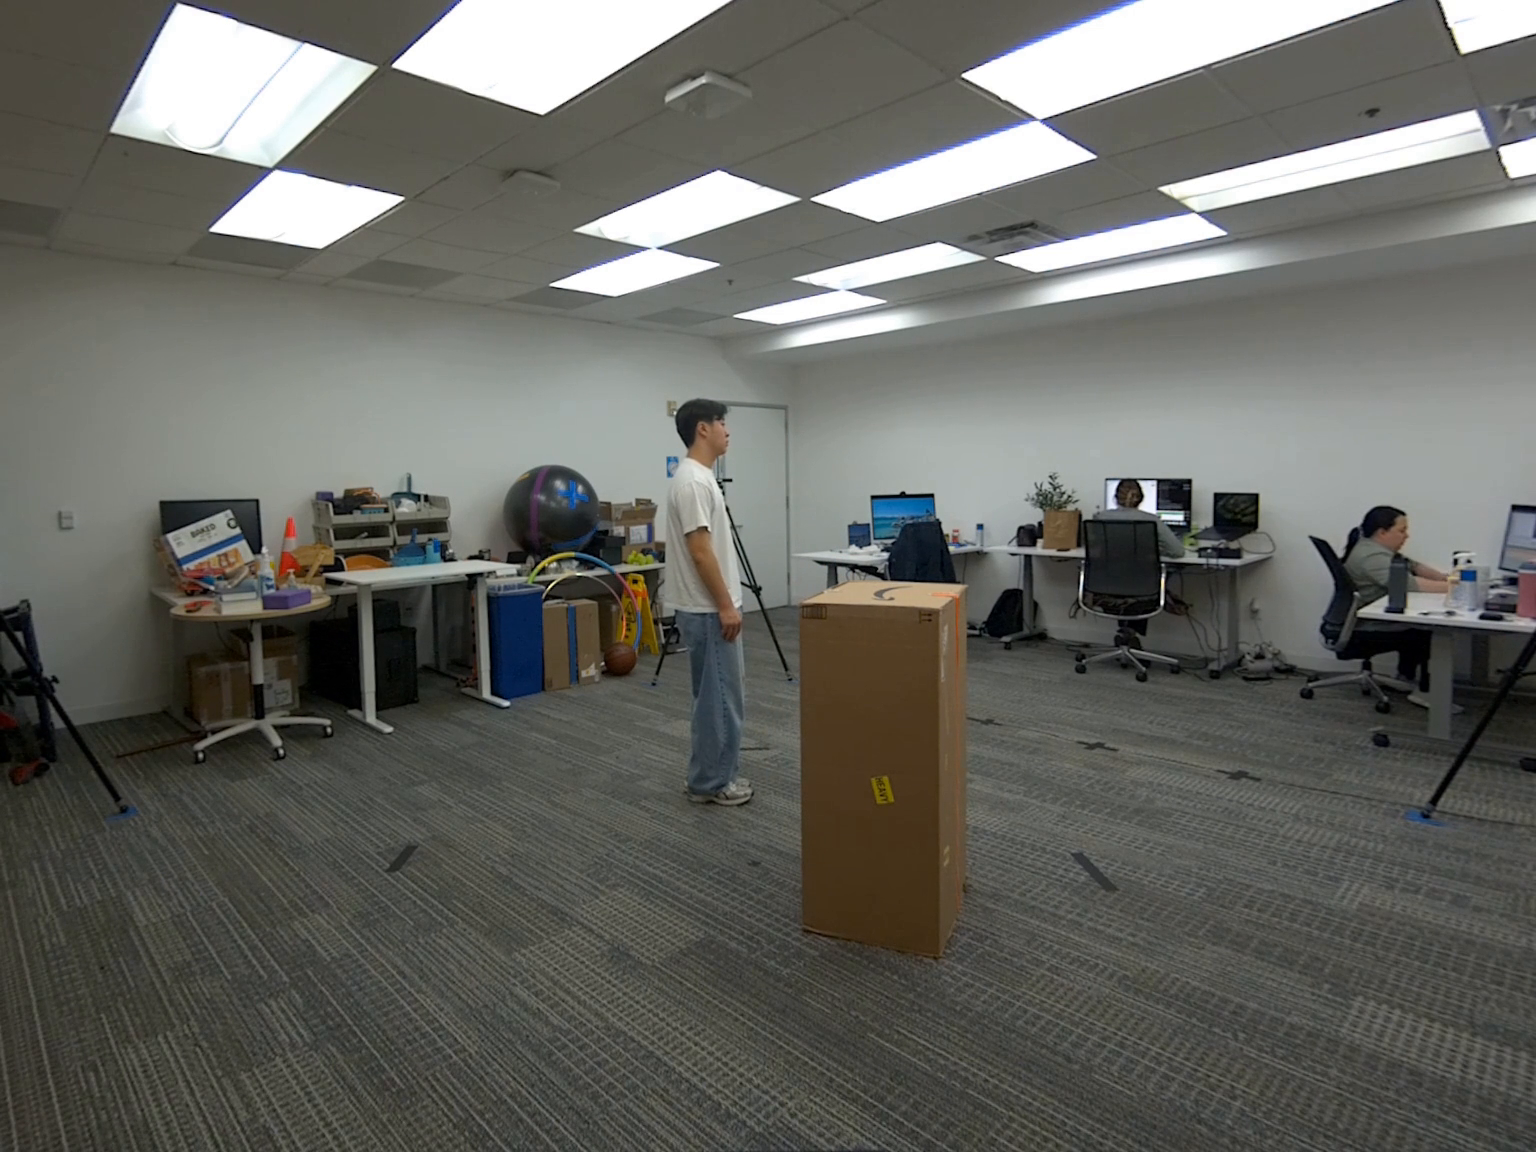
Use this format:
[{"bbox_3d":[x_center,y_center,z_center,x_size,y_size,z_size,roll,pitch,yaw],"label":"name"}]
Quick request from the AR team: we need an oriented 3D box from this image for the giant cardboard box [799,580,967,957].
[{"bbox_3d":[0.402,0.564,2.783,0.435,1.022,0.567,1,4,23],"label":"giant cardboard box"}]
